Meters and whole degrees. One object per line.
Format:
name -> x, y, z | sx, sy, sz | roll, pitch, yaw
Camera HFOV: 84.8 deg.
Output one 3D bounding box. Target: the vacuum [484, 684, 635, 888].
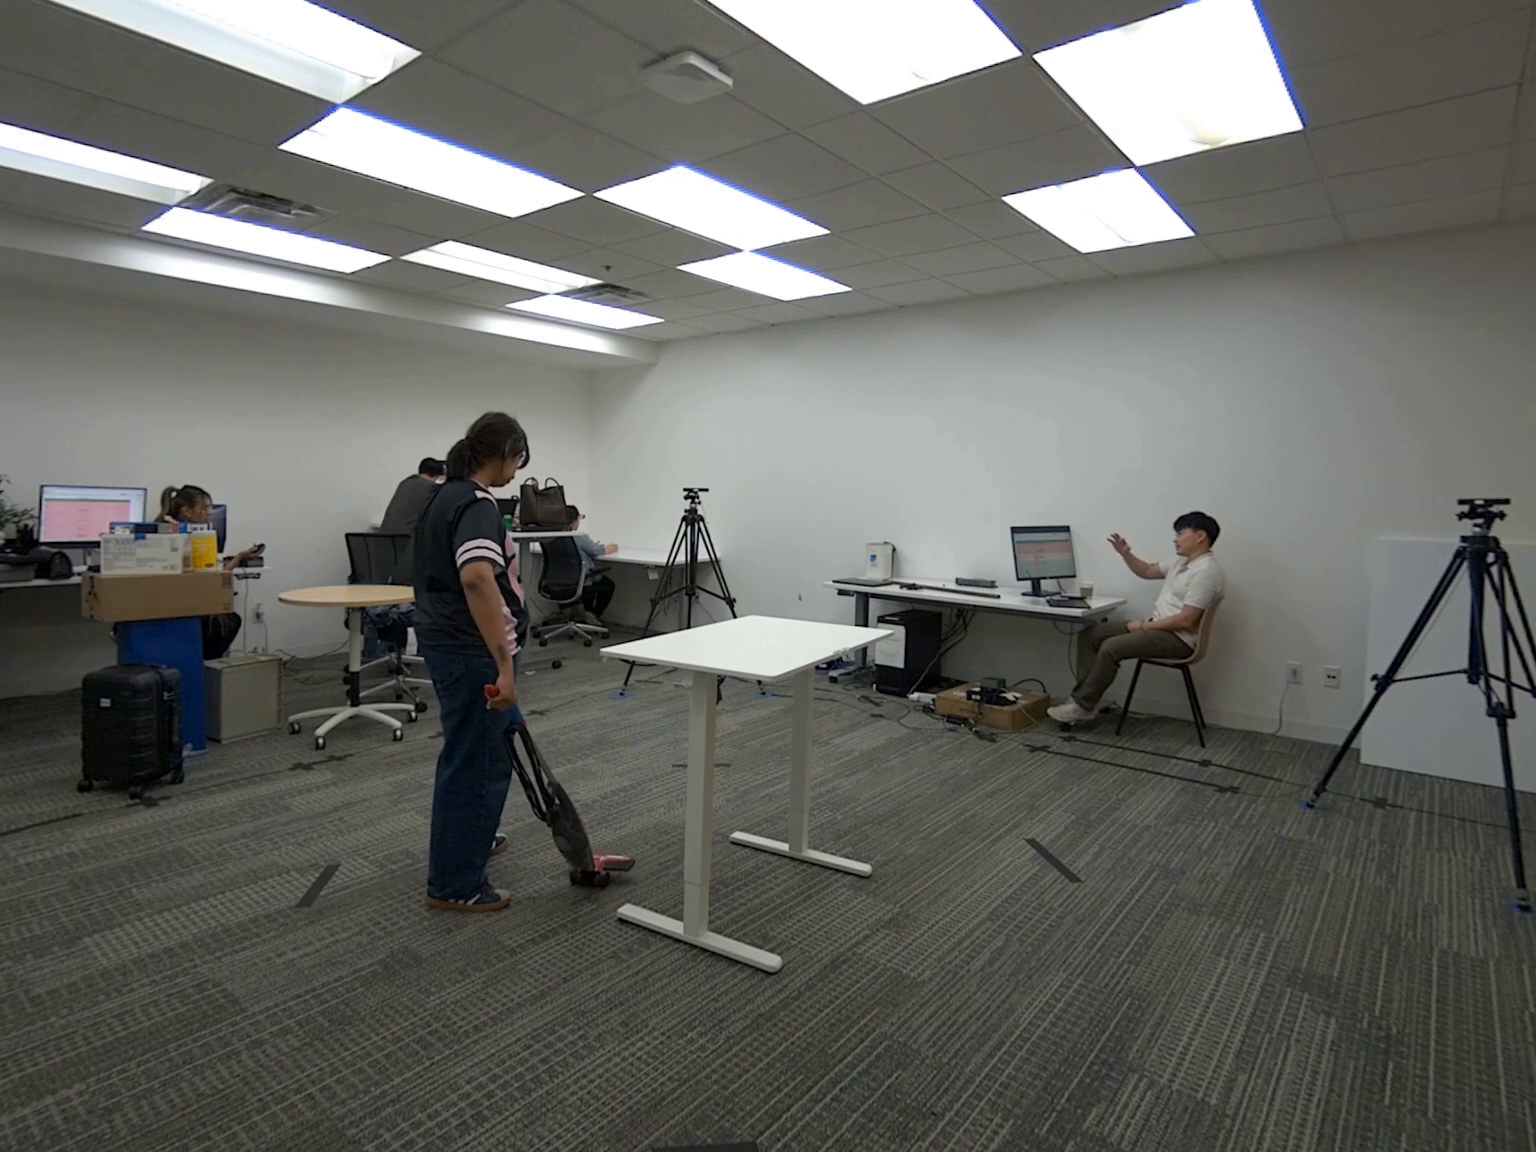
vacuum -> -0.704, 0.692, 2.673 | 0.257, 1.012, 0.146 | 1, 45, 17
